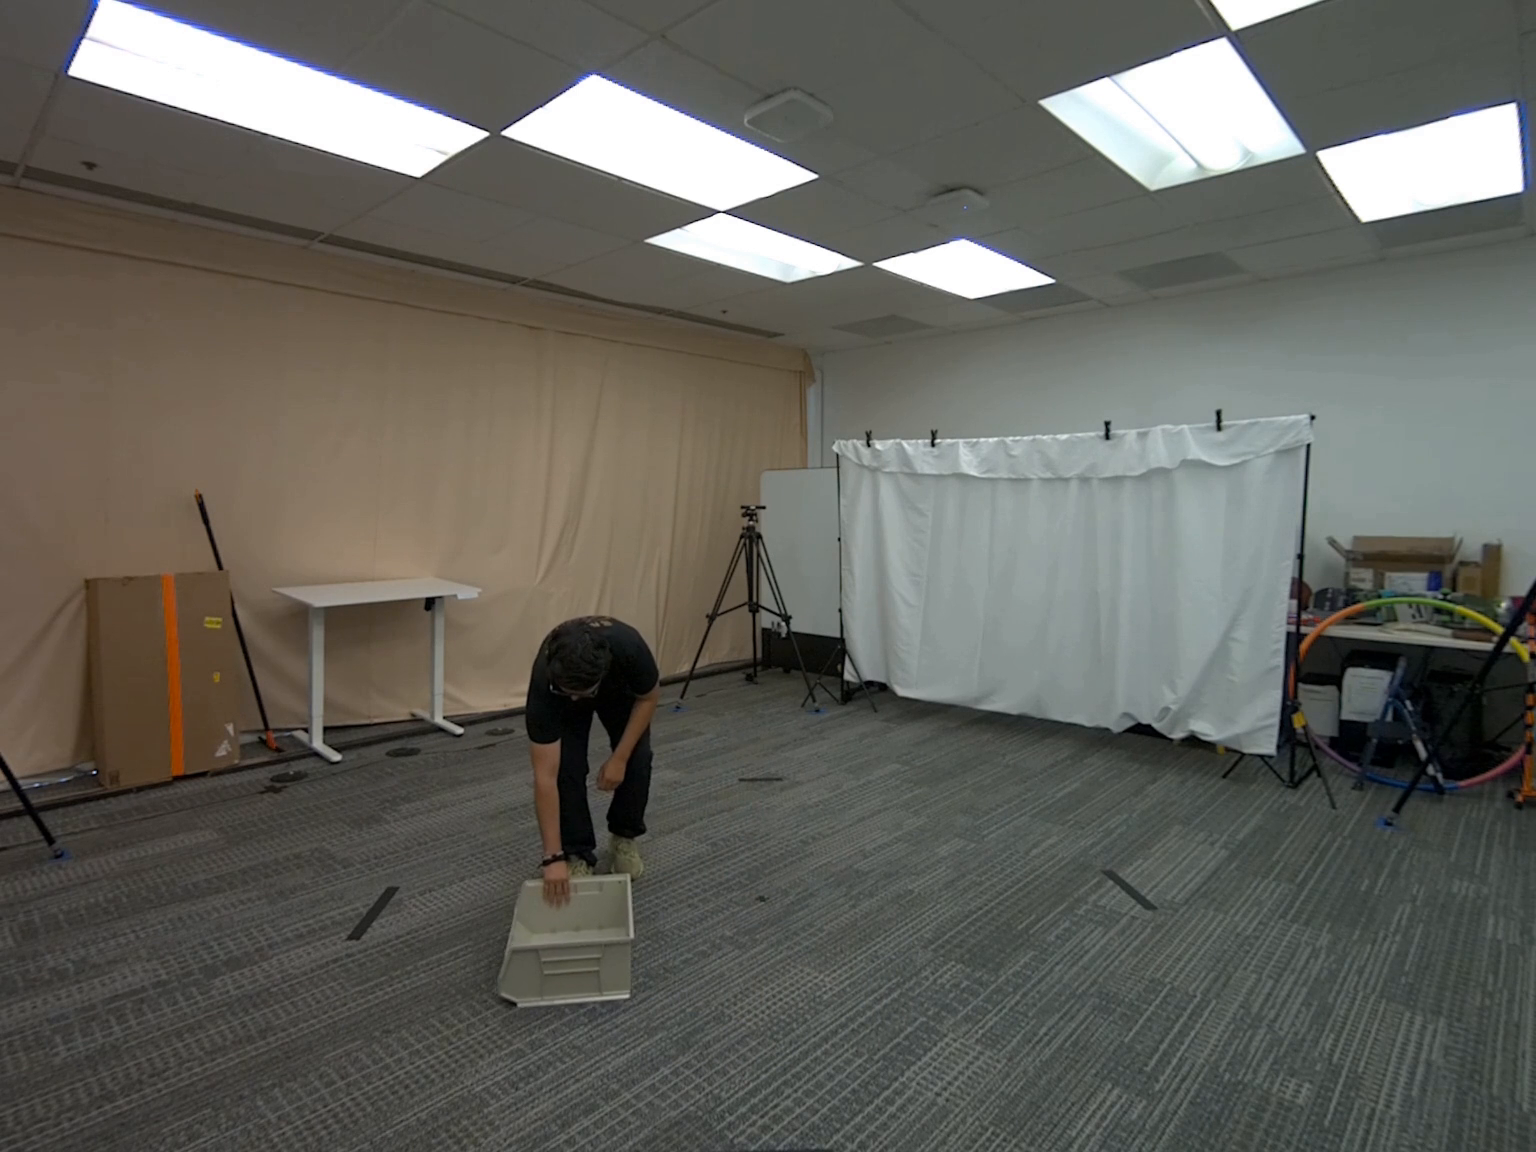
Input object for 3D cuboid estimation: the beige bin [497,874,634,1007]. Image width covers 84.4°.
[{"bbox_3d":[-0.600,1.090,2.551,0.374,0.189,0.427,1,3,-10],"label":"beige bin"}]
